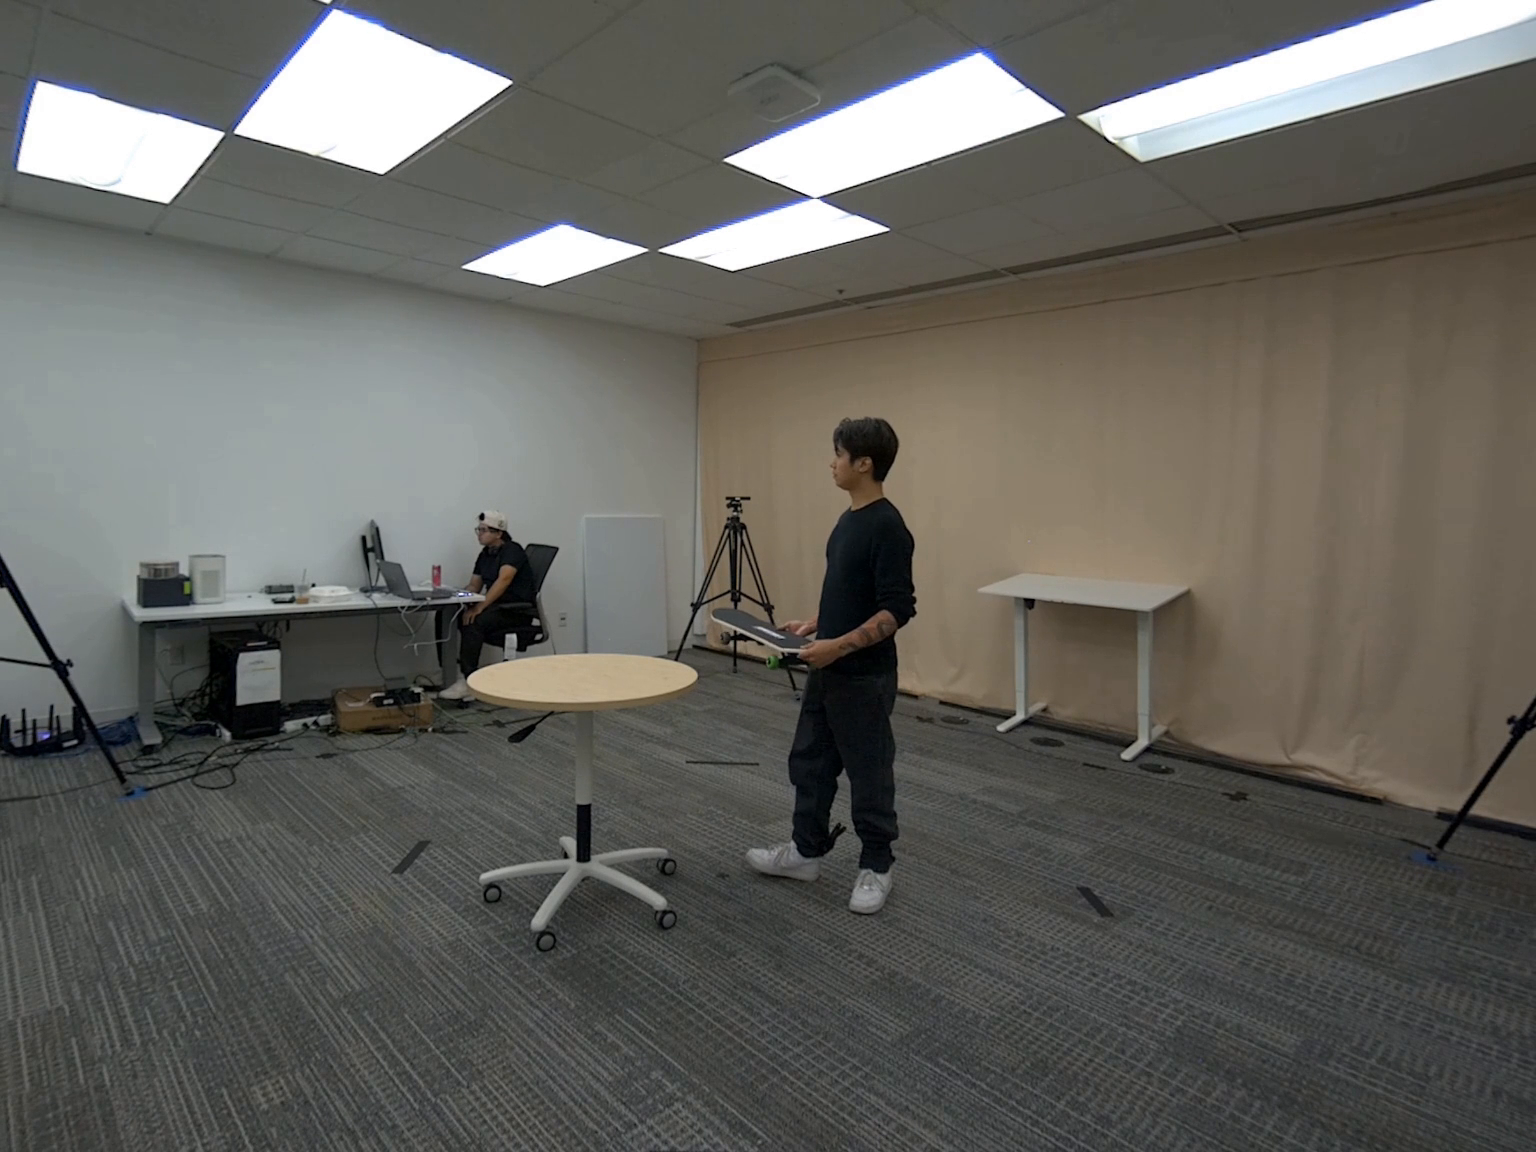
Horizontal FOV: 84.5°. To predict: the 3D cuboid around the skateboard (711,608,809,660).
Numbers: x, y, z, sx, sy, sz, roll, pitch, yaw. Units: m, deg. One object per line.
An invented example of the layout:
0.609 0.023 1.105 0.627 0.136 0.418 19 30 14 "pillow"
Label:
0.000 0.242 3.023 0.190 0.110 0.802 3 6 -25 "skateboard"
